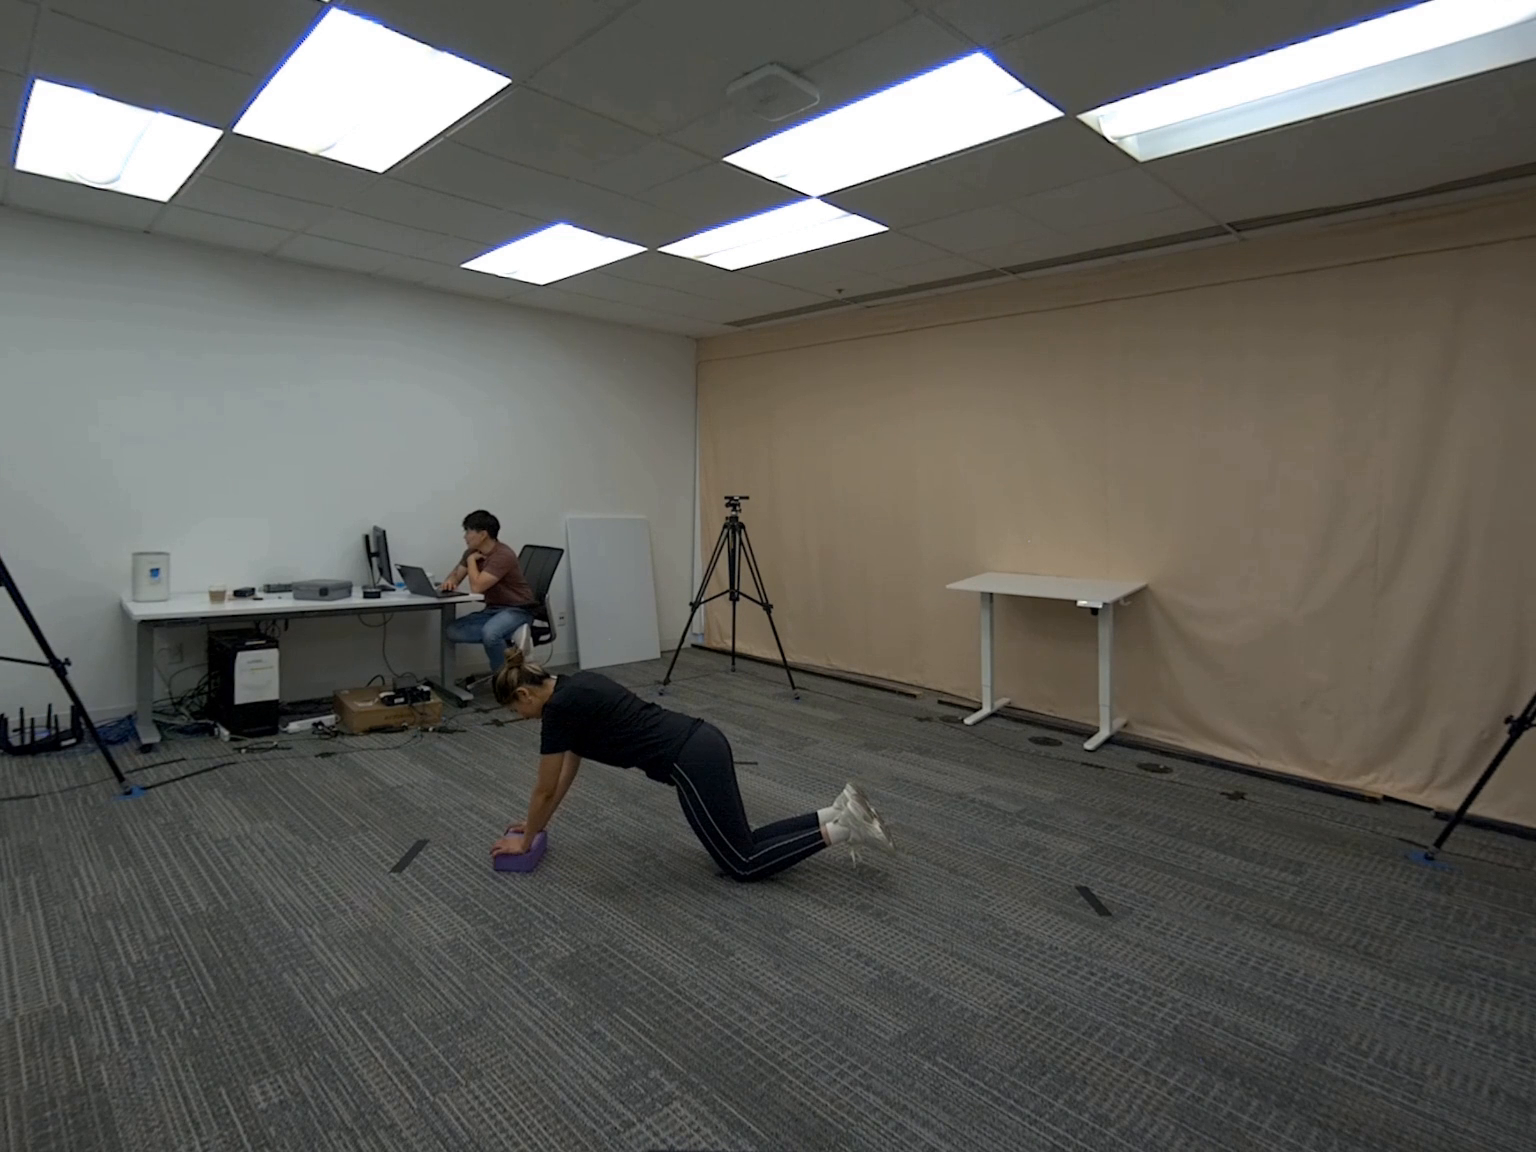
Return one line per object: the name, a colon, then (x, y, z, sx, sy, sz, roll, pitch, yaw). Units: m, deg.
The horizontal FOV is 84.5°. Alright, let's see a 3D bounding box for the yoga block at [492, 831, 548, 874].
yoga block: (-0.938, 1.031, 3.200, 0.149, 0.076, 0.229, -1, 5, 1)
